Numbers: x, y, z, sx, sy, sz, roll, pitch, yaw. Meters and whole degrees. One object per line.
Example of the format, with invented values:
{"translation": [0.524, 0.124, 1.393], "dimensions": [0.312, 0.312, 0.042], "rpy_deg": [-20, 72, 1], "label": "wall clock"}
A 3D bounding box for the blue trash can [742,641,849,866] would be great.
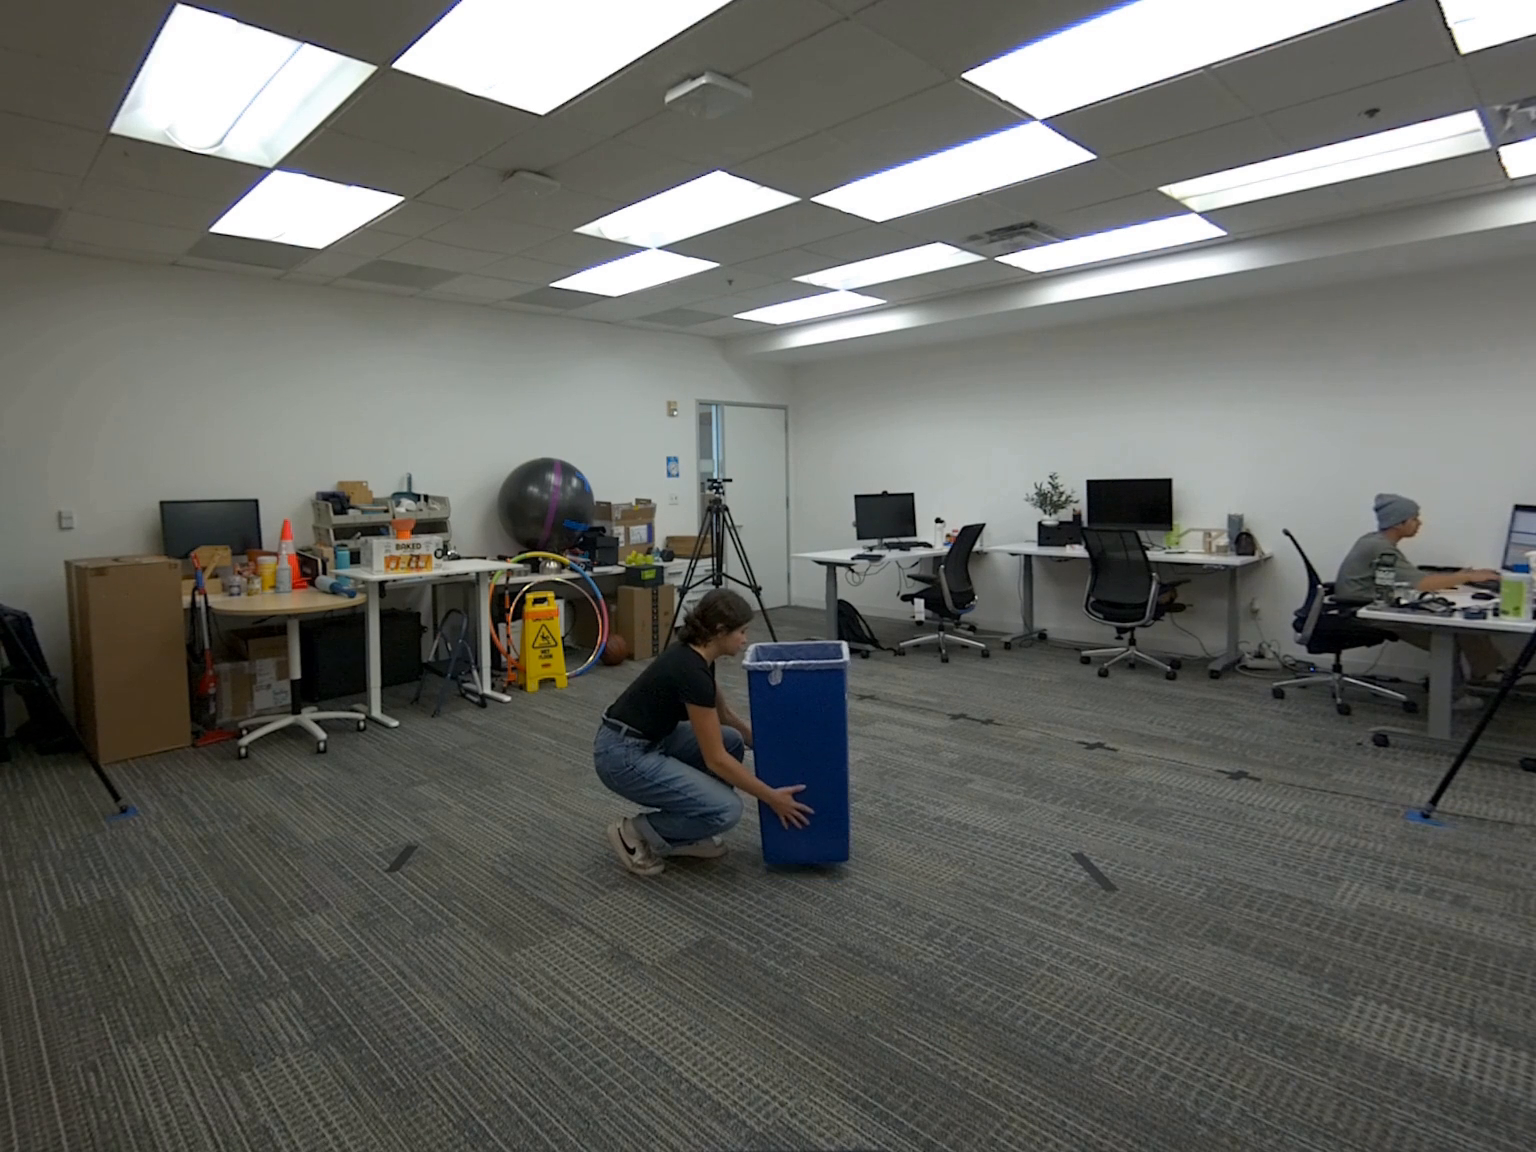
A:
{"translation": [0.119, 0.616, 3.112], "dimensions": [0.380, 0.710, 0.373], "rpy_deg": [-3, 5, 6], "label": "blue trash can"}
